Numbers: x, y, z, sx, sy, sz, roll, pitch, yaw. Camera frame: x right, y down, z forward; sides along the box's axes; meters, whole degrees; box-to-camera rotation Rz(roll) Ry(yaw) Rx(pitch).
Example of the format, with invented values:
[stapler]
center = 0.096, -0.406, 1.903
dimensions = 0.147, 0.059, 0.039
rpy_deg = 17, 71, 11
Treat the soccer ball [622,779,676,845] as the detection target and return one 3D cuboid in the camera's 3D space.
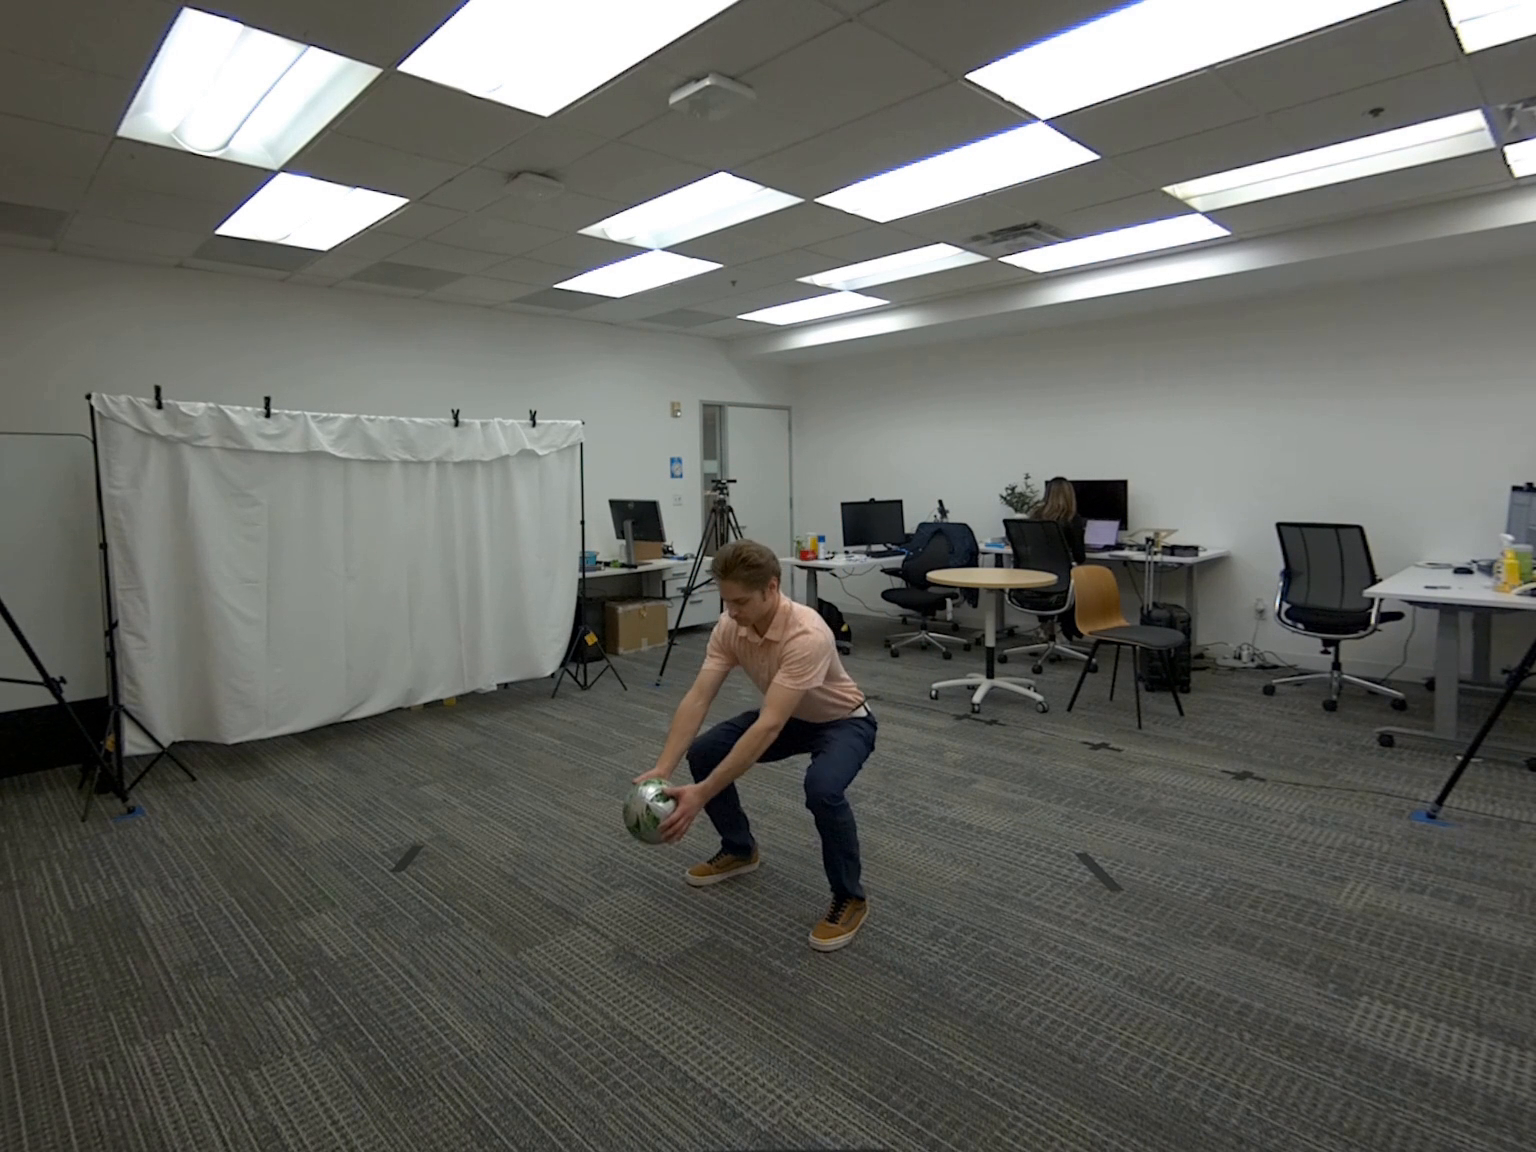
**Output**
[soccer ball]
center = -0.321, 0.685, 2.467
dimensions = 0.187, 0.187, 0.188
rpy_deg = -1, 5, -2
